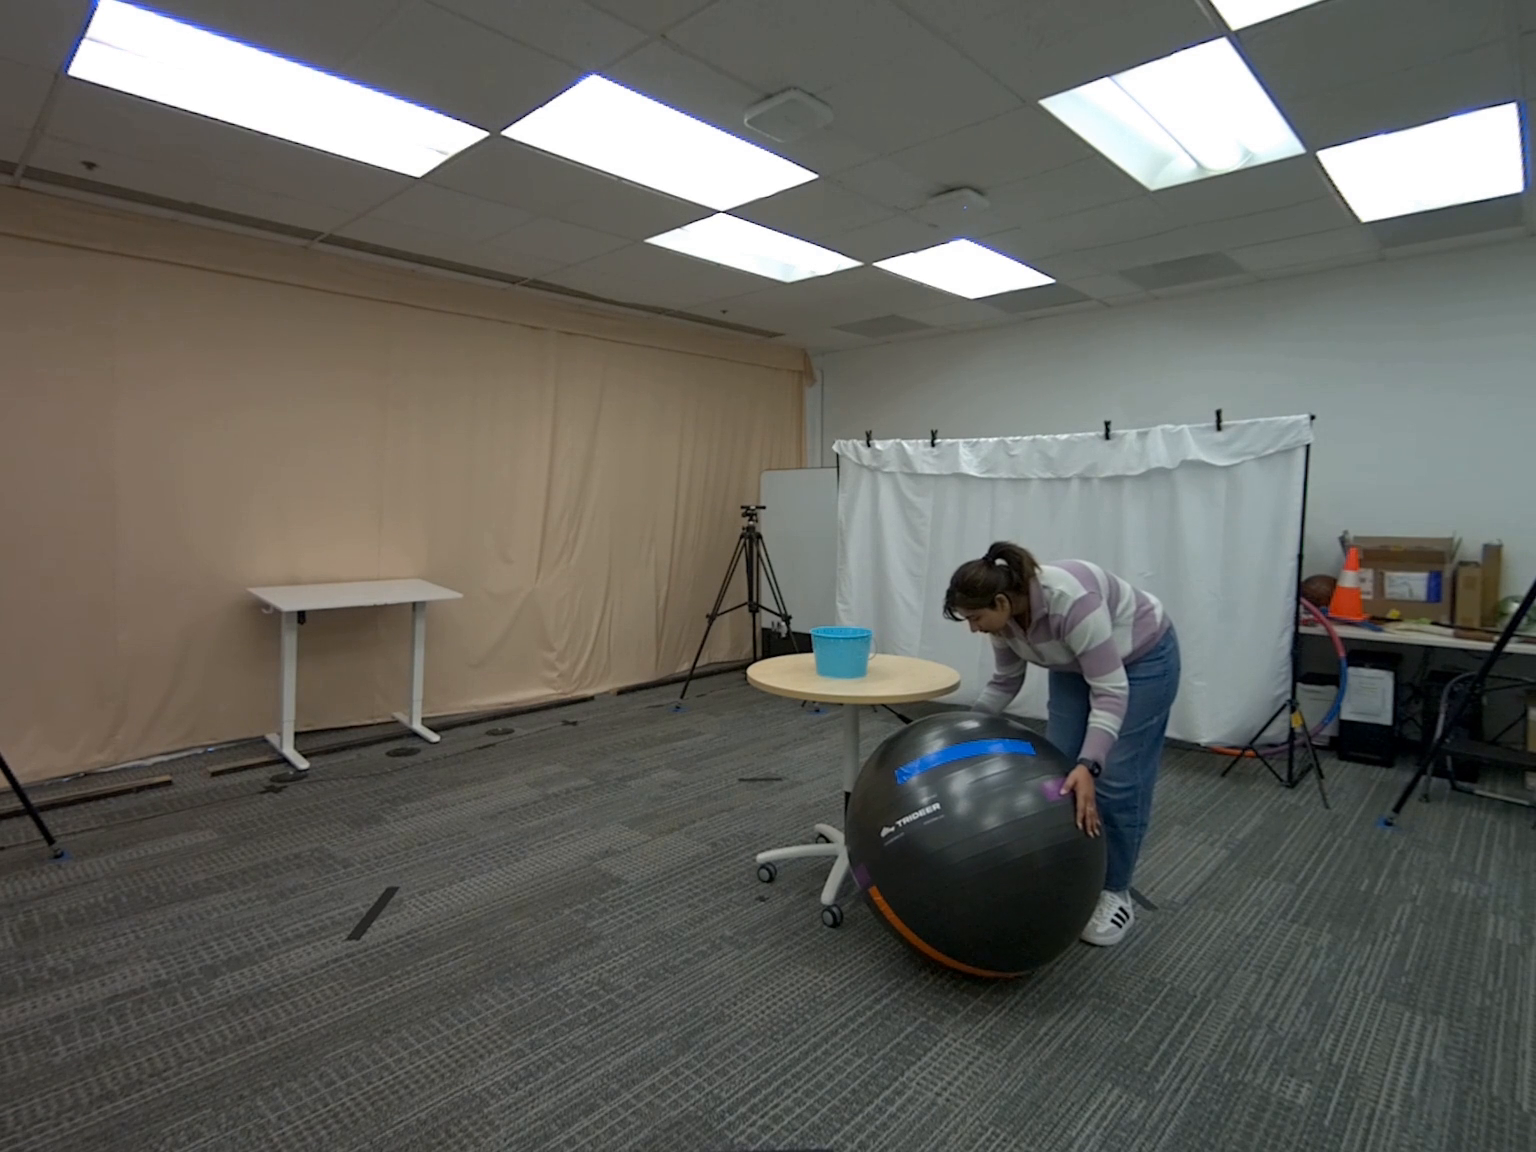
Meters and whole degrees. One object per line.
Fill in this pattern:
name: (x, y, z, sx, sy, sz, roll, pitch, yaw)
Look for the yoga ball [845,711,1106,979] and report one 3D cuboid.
yoga ball: (0.626, 0.804, 2.564, 0.757, 0.756, 0.760, 0, 4, -2)
